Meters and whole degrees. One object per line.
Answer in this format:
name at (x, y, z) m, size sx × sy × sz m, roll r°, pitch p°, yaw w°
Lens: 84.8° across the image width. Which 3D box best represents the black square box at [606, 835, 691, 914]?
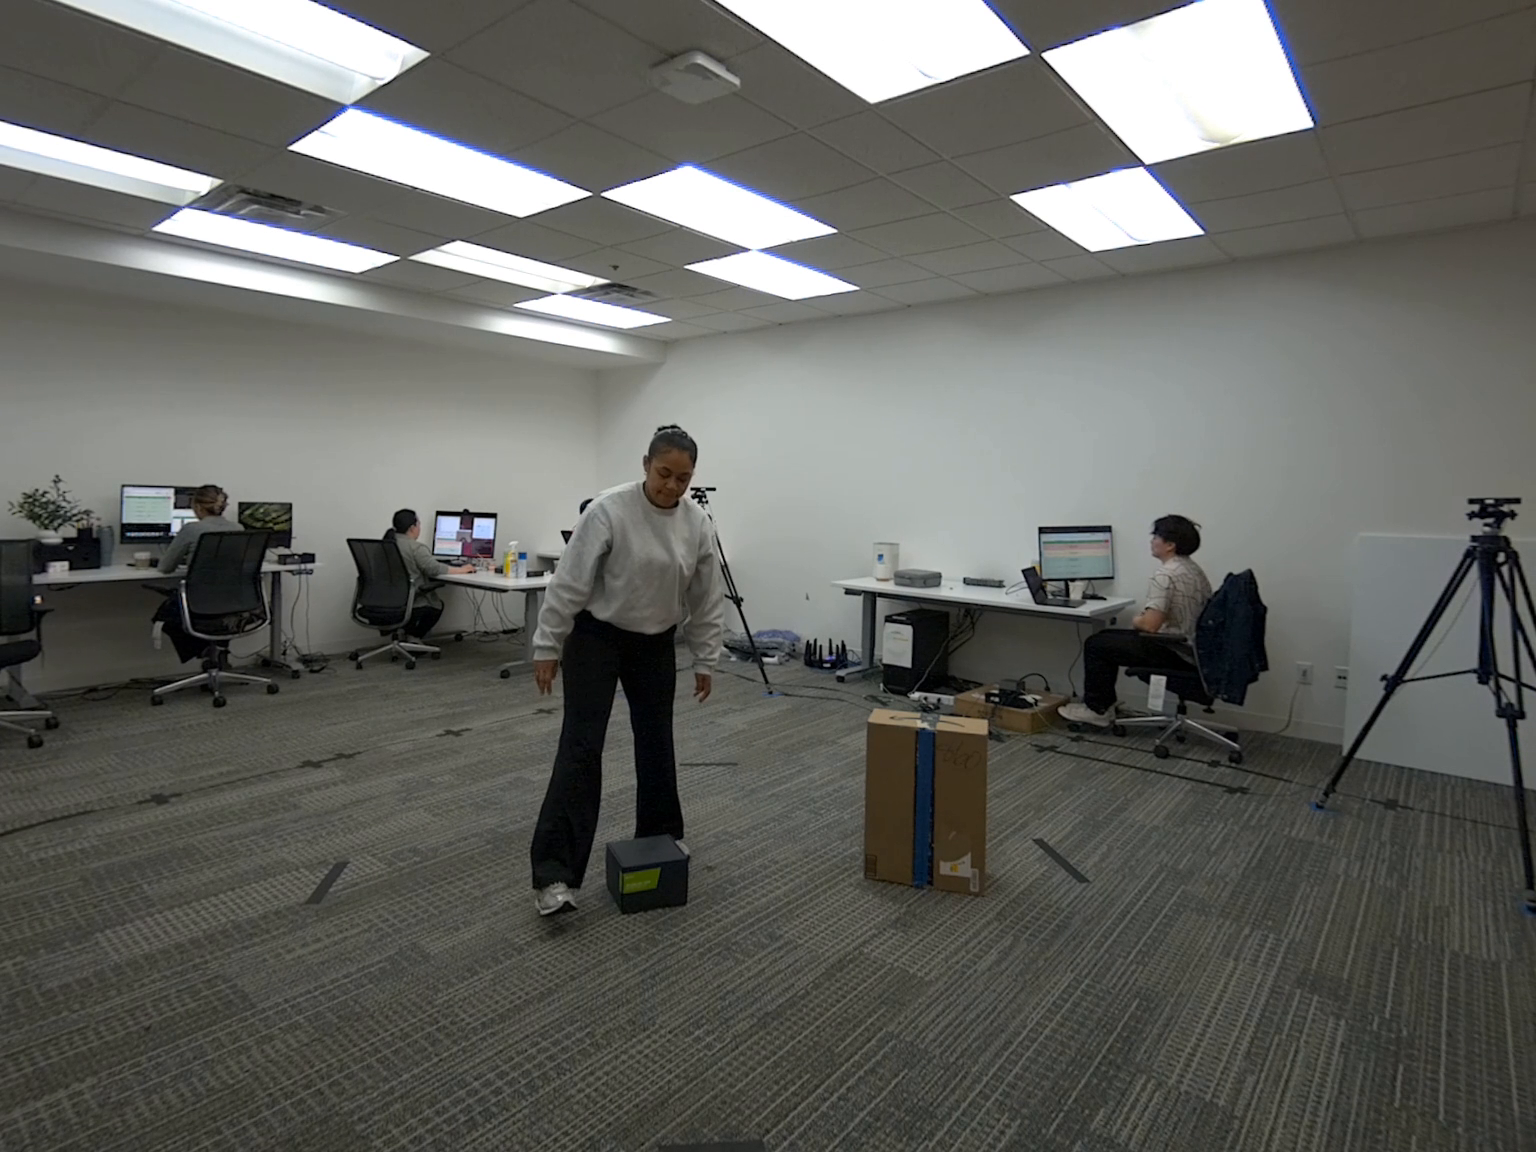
black square box at (-0.424, 1.000, 2.891) m, size 0.223 × 0.155 × 0.222 m, roll -1°, pitch 4°, yaw -24°
